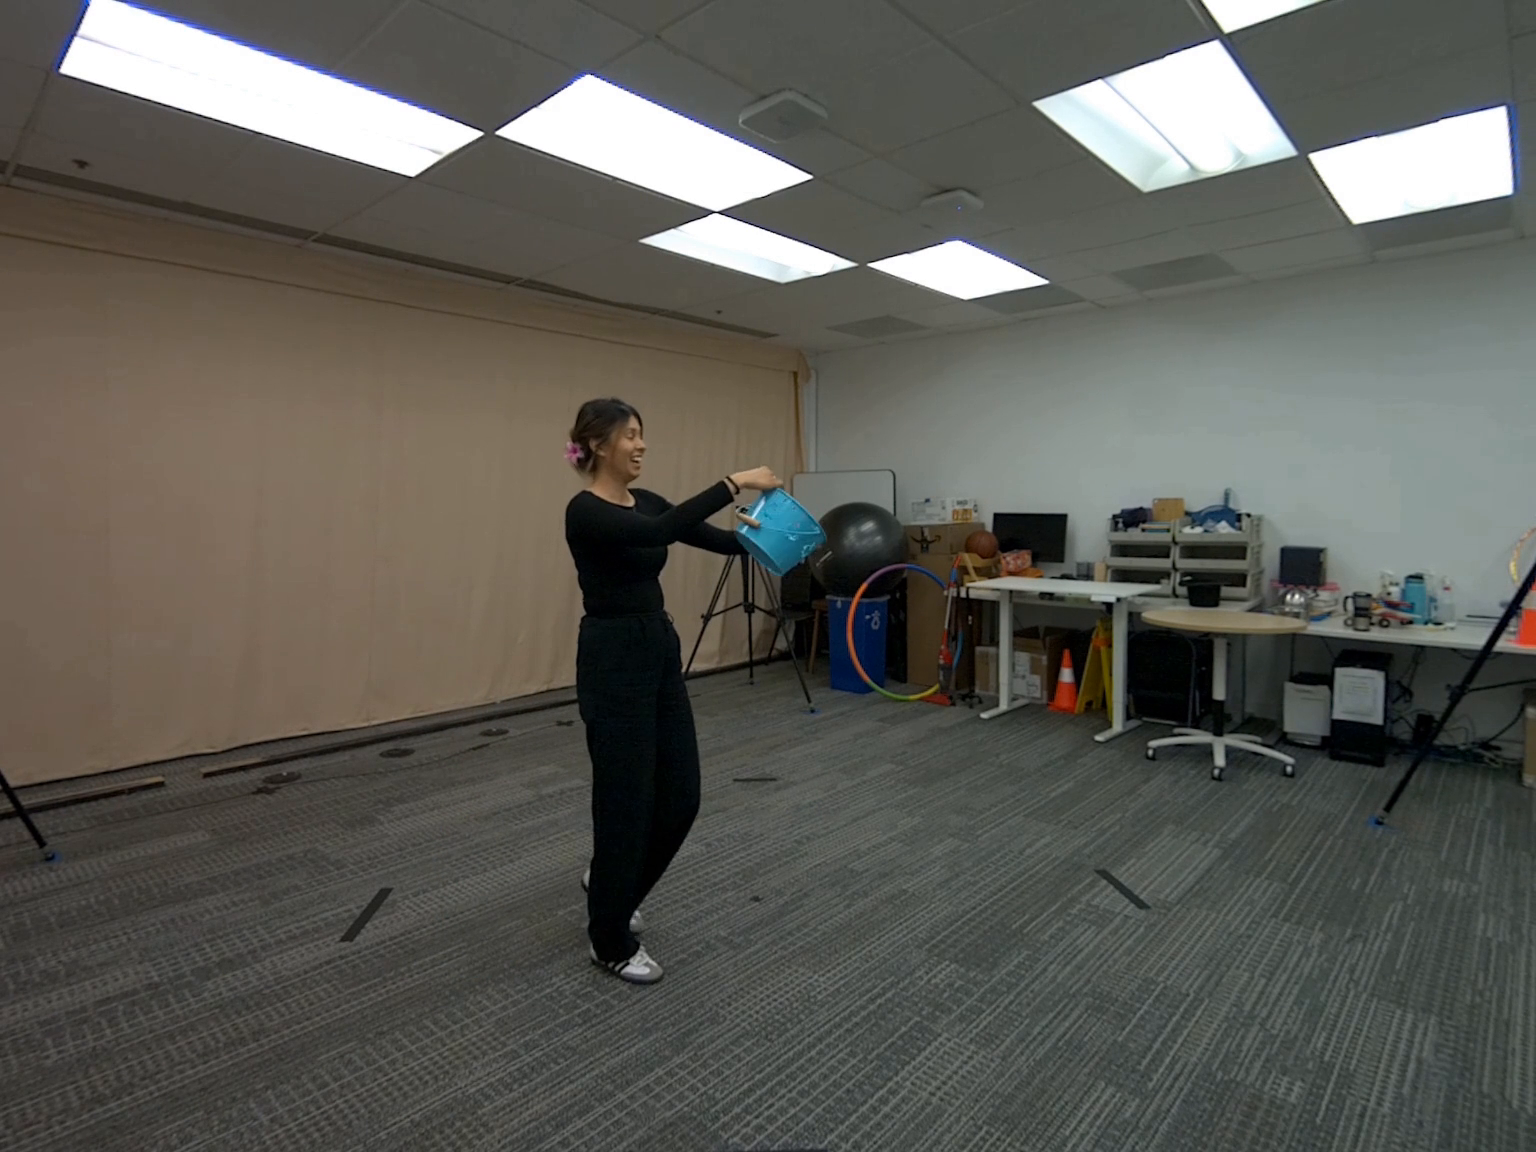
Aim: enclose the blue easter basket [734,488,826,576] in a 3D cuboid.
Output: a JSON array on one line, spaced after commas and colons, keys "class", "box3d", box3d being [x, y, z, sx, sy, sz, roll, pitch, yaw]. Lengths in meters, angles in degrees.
[{"class": "blue easter basket", "box3d": [0.025, -0.120, 2.308, 0.246, 0.155, 0.242, 42, -10, 6]}]
